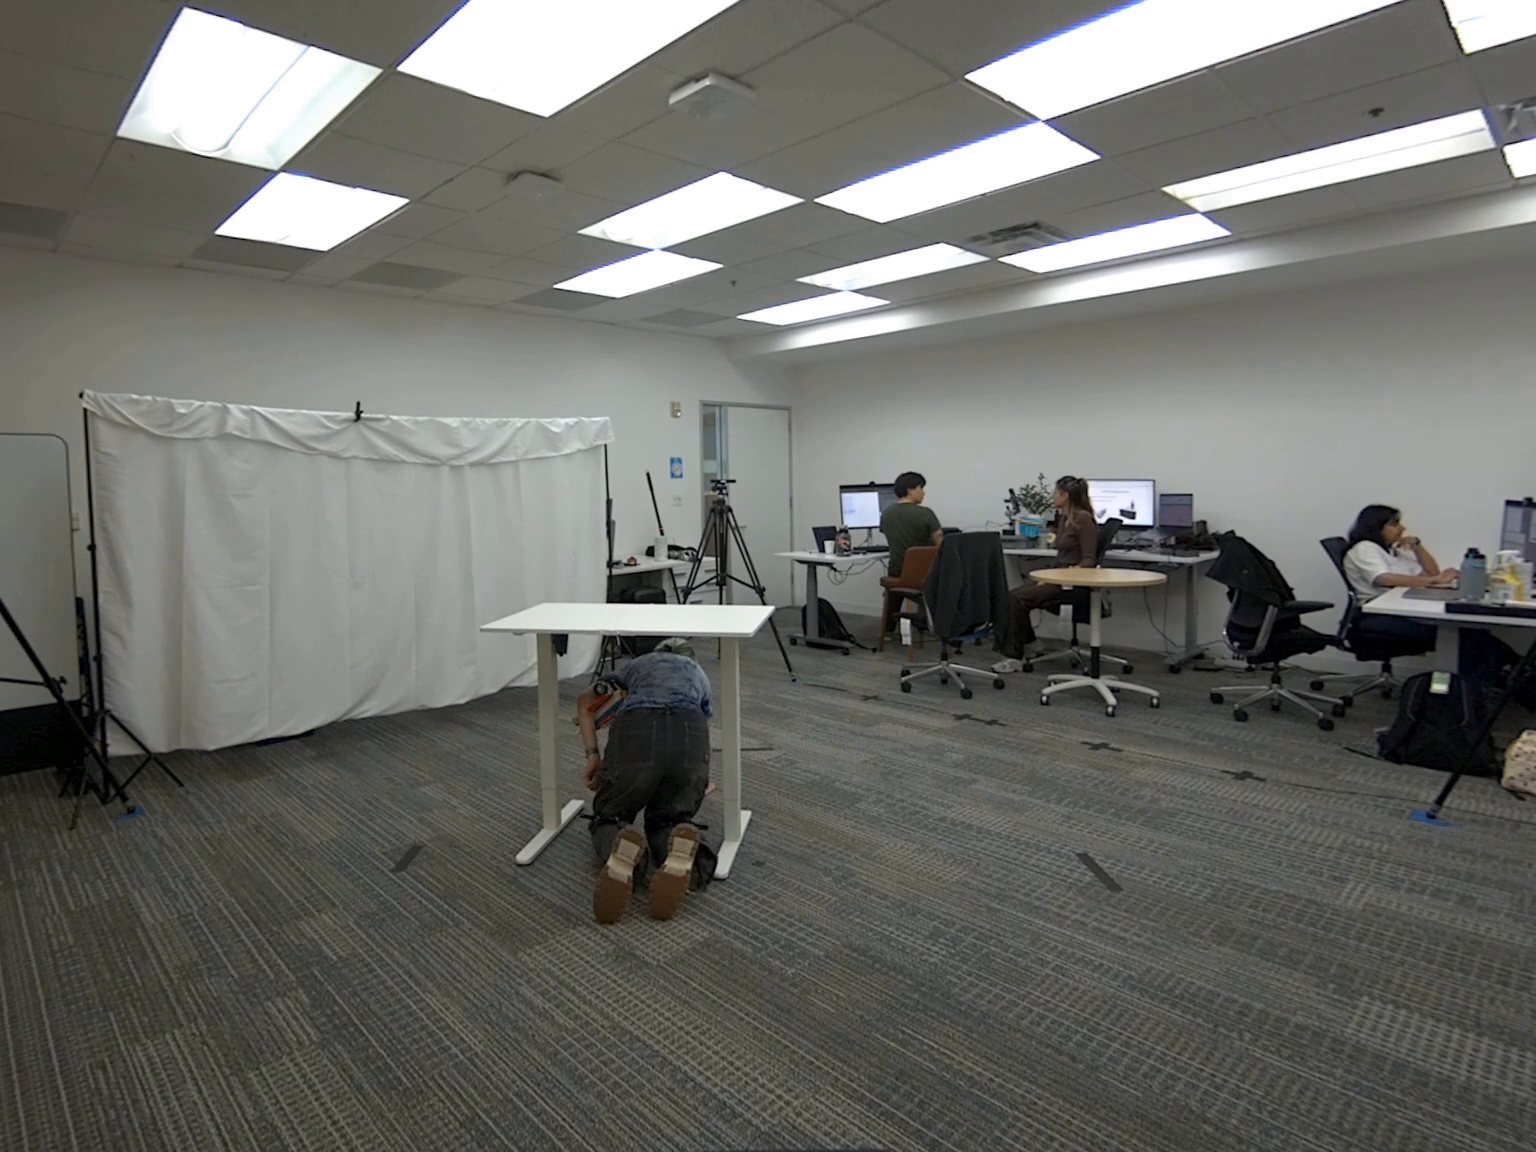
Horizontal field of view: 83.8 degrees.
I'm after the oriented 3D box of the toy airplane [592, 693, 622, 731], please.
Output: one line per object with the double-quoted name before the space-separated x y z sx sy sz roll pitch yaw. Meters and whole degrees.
"toy airplane" -0.638 0.537 3.367 0.159 0.256 0.249 36 39 13
